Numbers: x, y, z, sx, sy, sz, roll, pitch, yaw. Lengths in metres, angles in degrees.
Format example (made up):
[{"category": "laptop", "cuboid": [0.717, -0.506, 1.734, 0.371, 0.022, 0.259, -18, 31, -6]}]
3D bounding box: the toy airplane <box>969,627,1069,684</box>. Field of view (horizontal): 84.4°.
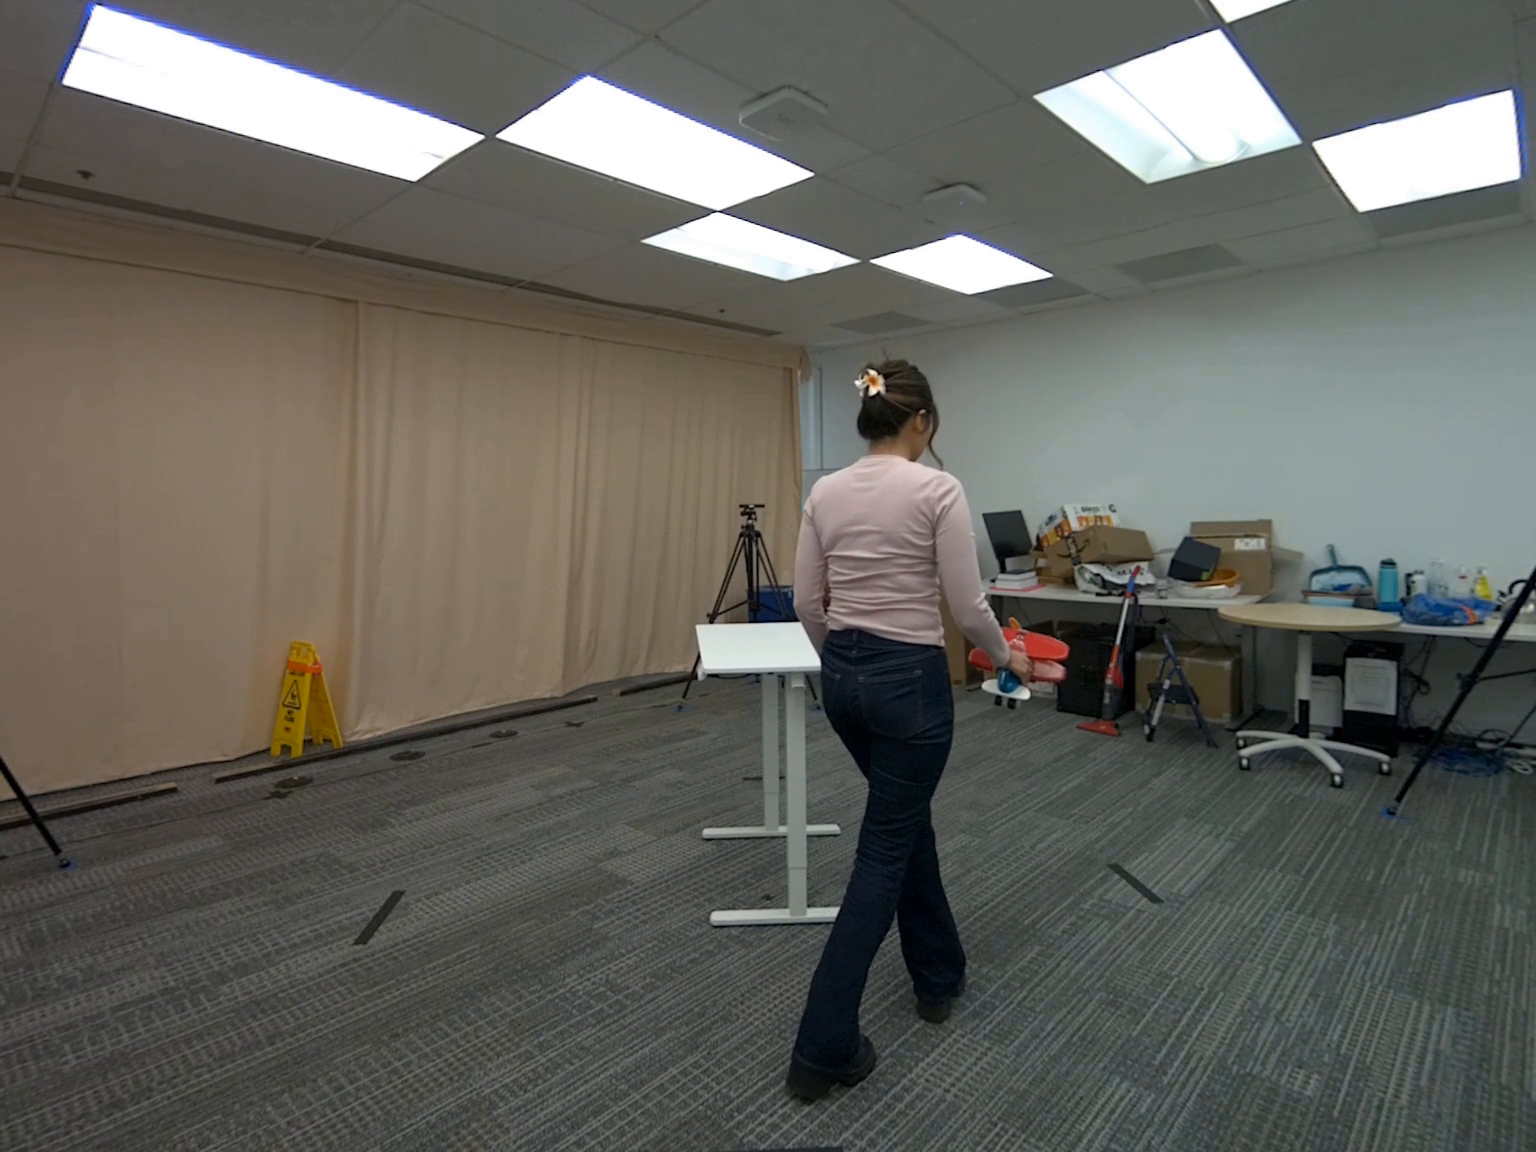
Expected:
[{"category": "toy airplane", "cuboid": [0.701, 0.245, 2.298, 0.250, 0.154, 0.263, 0, 21, -4]}]
